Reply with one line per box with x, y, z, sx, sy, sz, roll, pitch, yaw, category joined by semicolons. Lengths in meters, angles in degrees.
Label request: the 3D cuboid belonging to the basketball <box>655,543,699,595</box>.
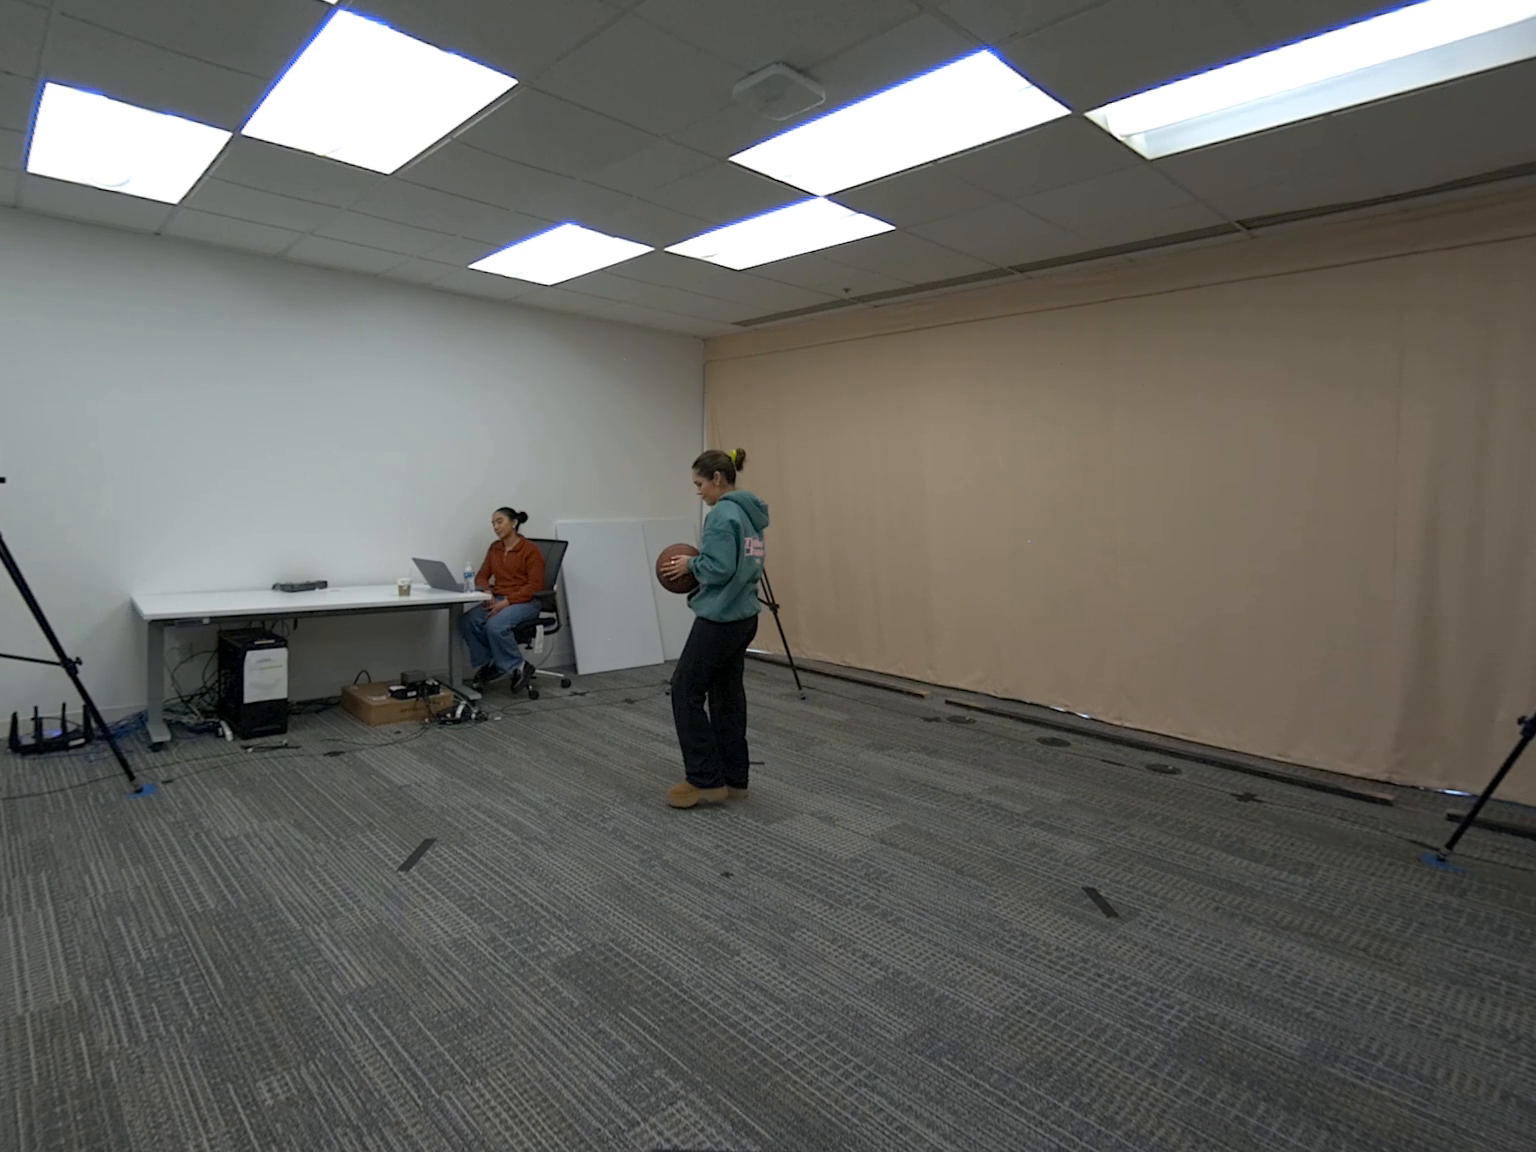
-0.415;-0.036;3.925;0.236;0.235;0.237;1;4;-1;basketball
